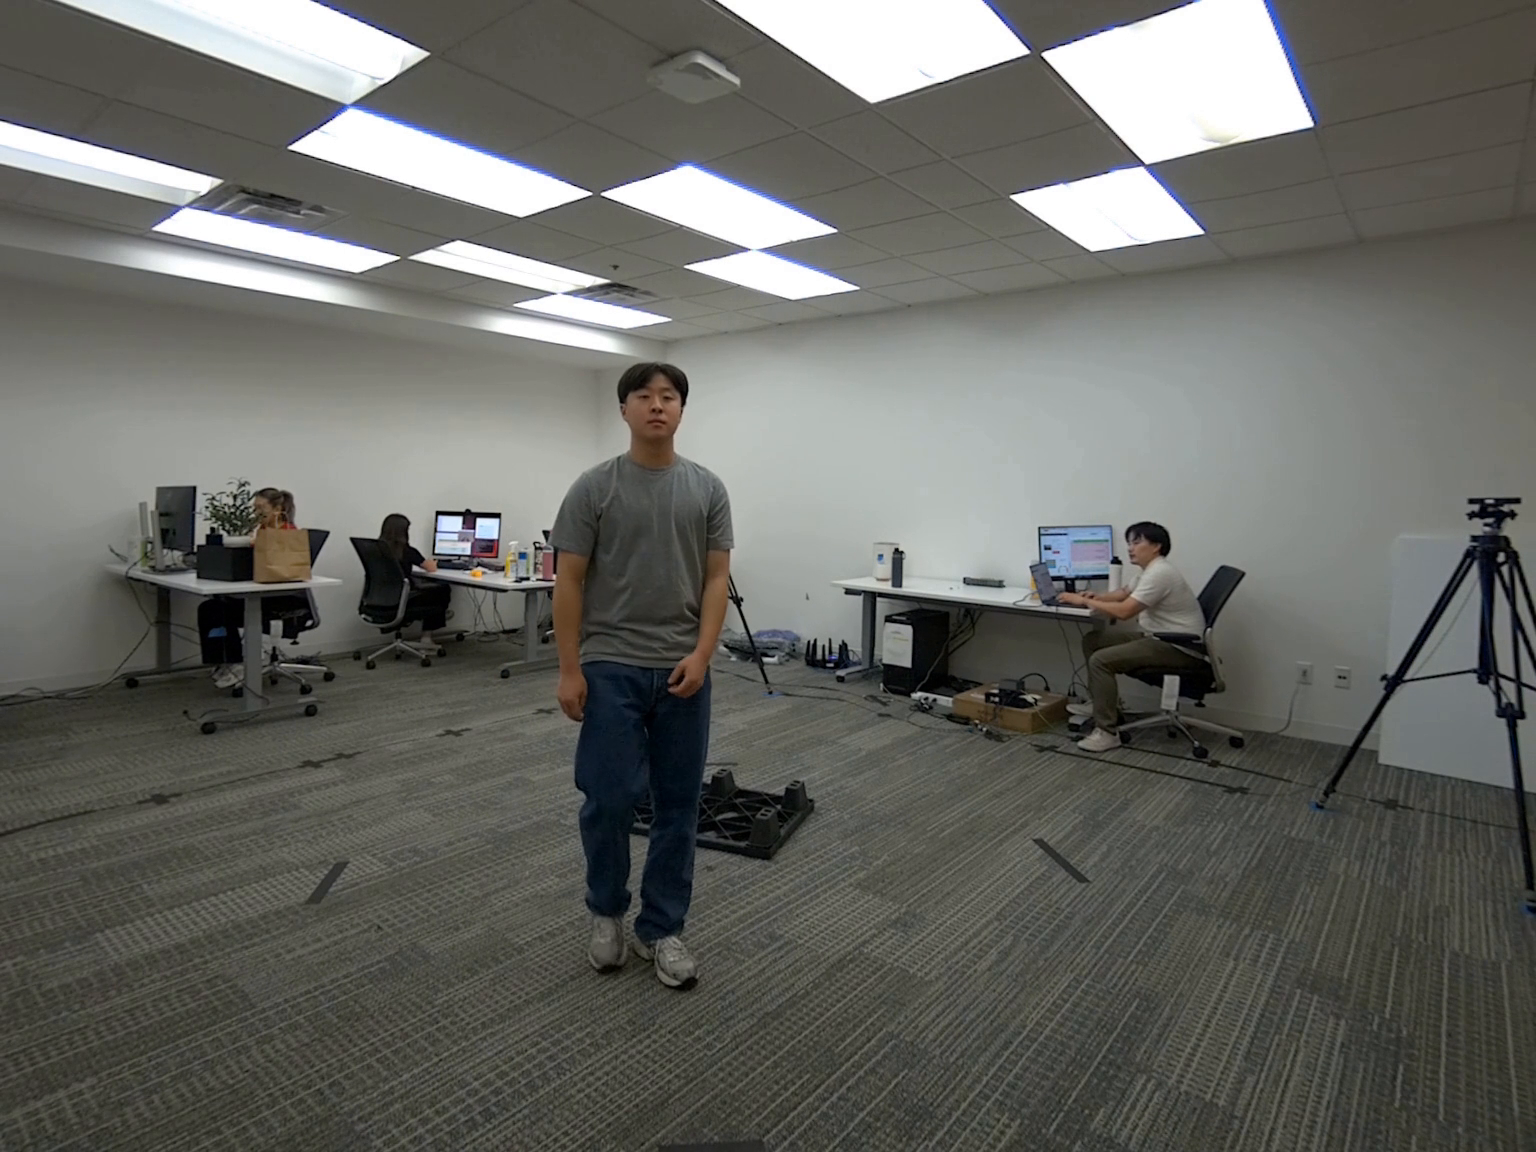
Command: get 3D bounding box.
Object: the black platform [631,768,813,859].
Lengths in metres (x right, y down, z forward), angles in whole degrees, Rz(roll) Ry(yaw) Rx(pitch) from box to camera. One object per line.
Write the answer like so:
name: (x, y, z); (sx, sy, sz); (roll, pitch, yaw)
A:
black platform: (-0.268, 0.950, 3.606); (0.824, 0.143, 0.594); (3, 6, 21)
